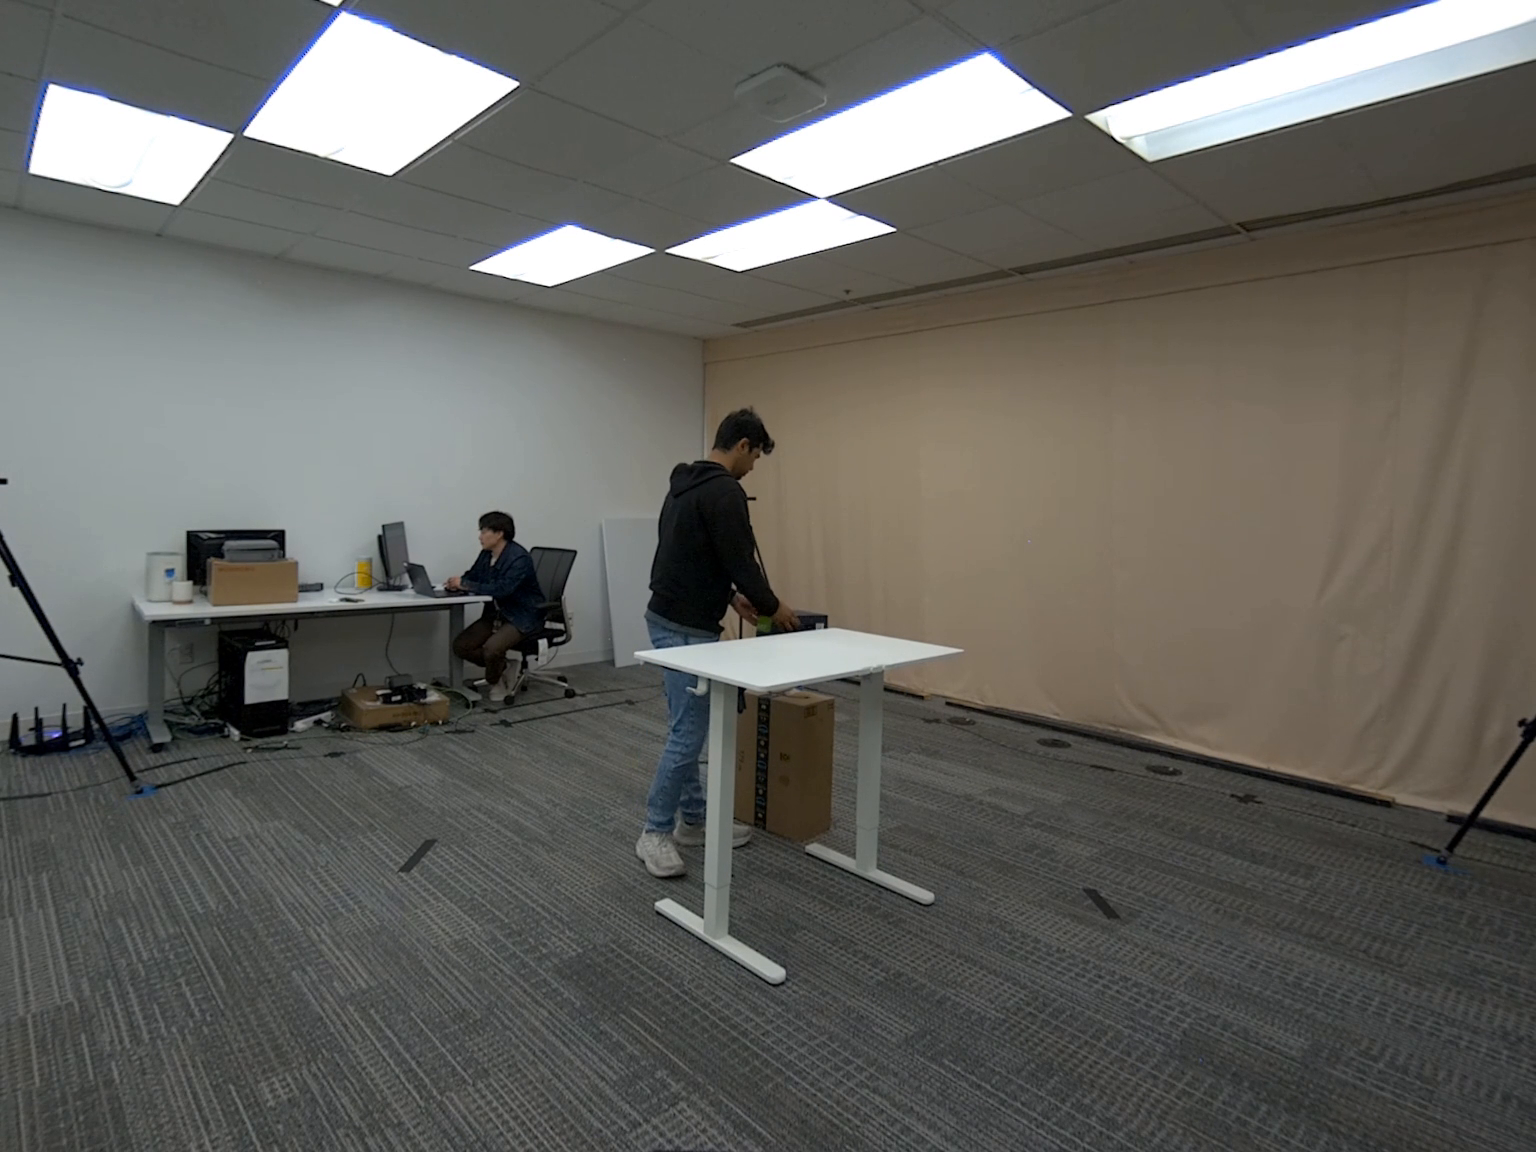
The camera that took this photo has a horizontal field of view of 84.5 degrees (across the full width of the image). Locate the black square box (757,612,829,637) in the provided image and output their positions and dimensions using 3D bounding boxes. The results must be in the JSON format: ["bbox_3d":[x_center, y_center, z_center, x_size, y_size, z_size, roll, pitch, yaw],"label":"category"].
[{"bbox_3d":[0.101,0.230,3.567,0.212,0.156,0.233,1,3,-31],"label":"black square box"}]
